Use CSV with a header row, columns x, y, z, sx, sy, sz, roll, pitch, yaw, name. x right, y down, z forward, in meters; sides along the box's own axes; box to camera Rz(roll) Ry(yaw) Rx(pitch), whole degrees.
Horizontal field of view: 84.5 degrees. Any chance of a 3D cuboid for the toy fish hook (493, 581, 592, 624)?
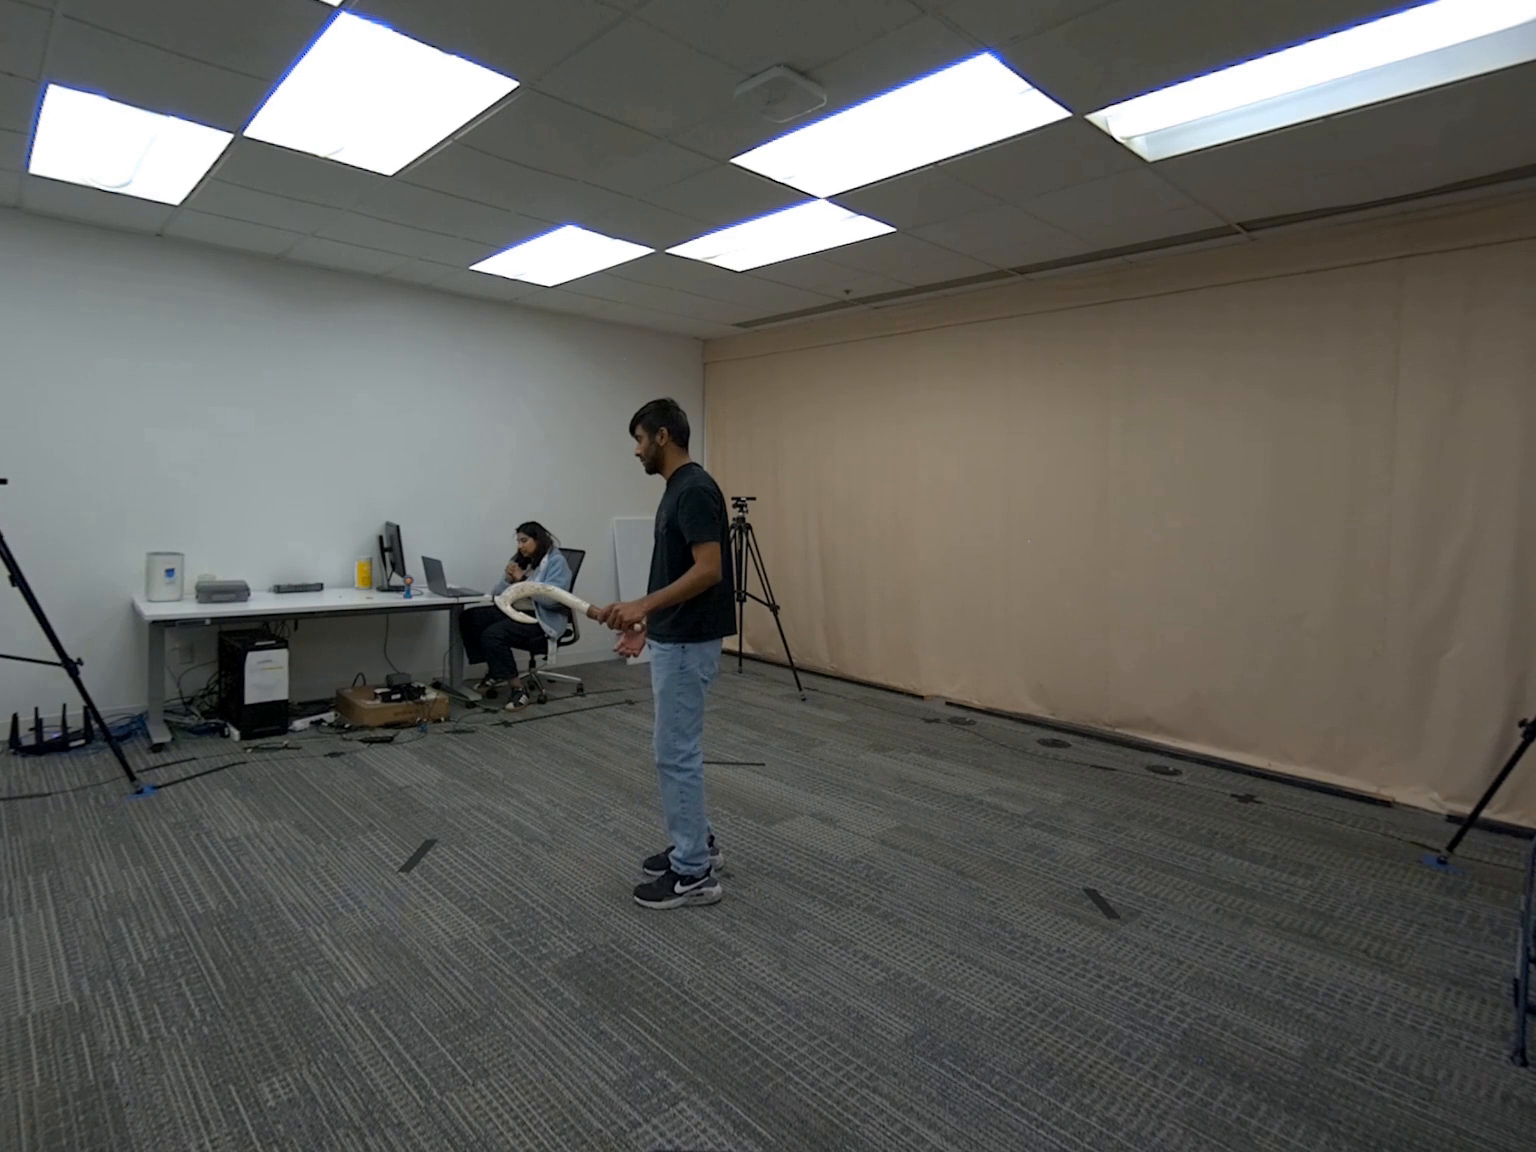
x,y,z,sx,sy,sz,roll,pitch,yaw,name
-0.630,0.124,2.704,0.514,0.047,0.225,13,34,15,toy fish hook
